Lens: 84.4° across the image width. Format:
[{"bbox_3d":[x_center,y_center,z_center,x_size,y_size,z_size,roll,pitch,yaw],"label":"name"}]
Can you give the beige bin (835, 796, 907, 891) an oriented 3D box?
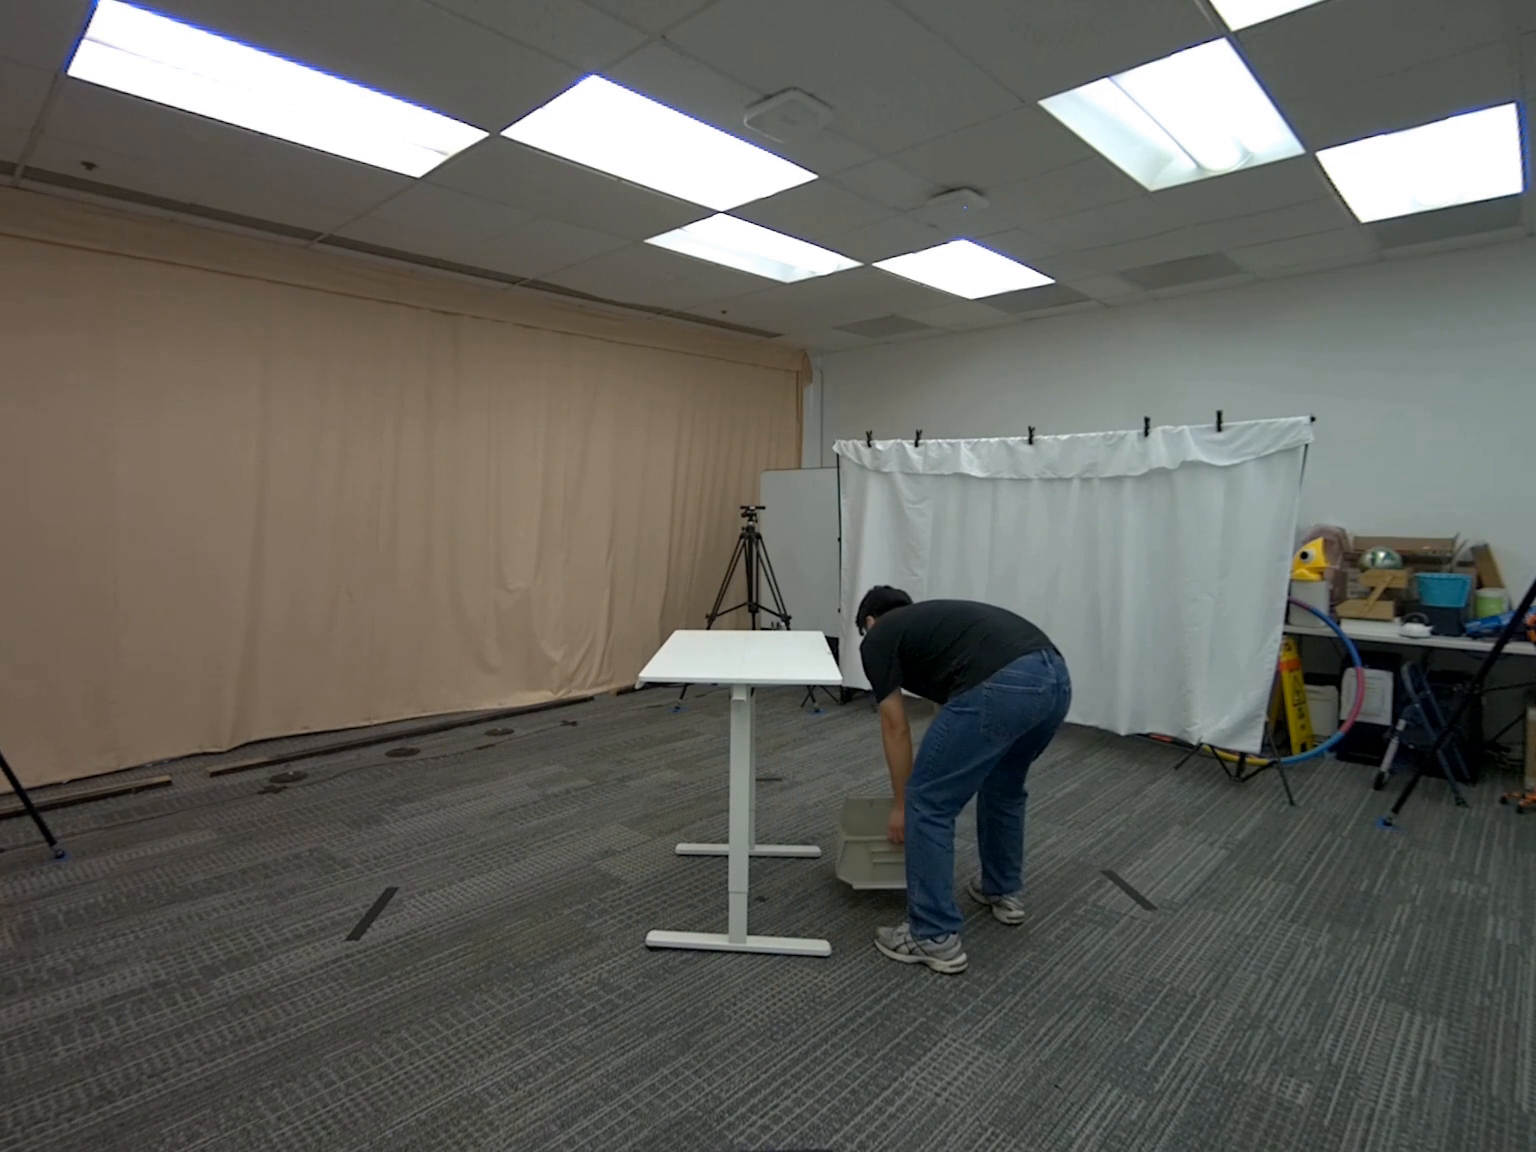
[{"bbox_3d":[0.437,0.942,3.032,0.381,0.188,0.419,-4,4,9],"label":"beige bin"}]
